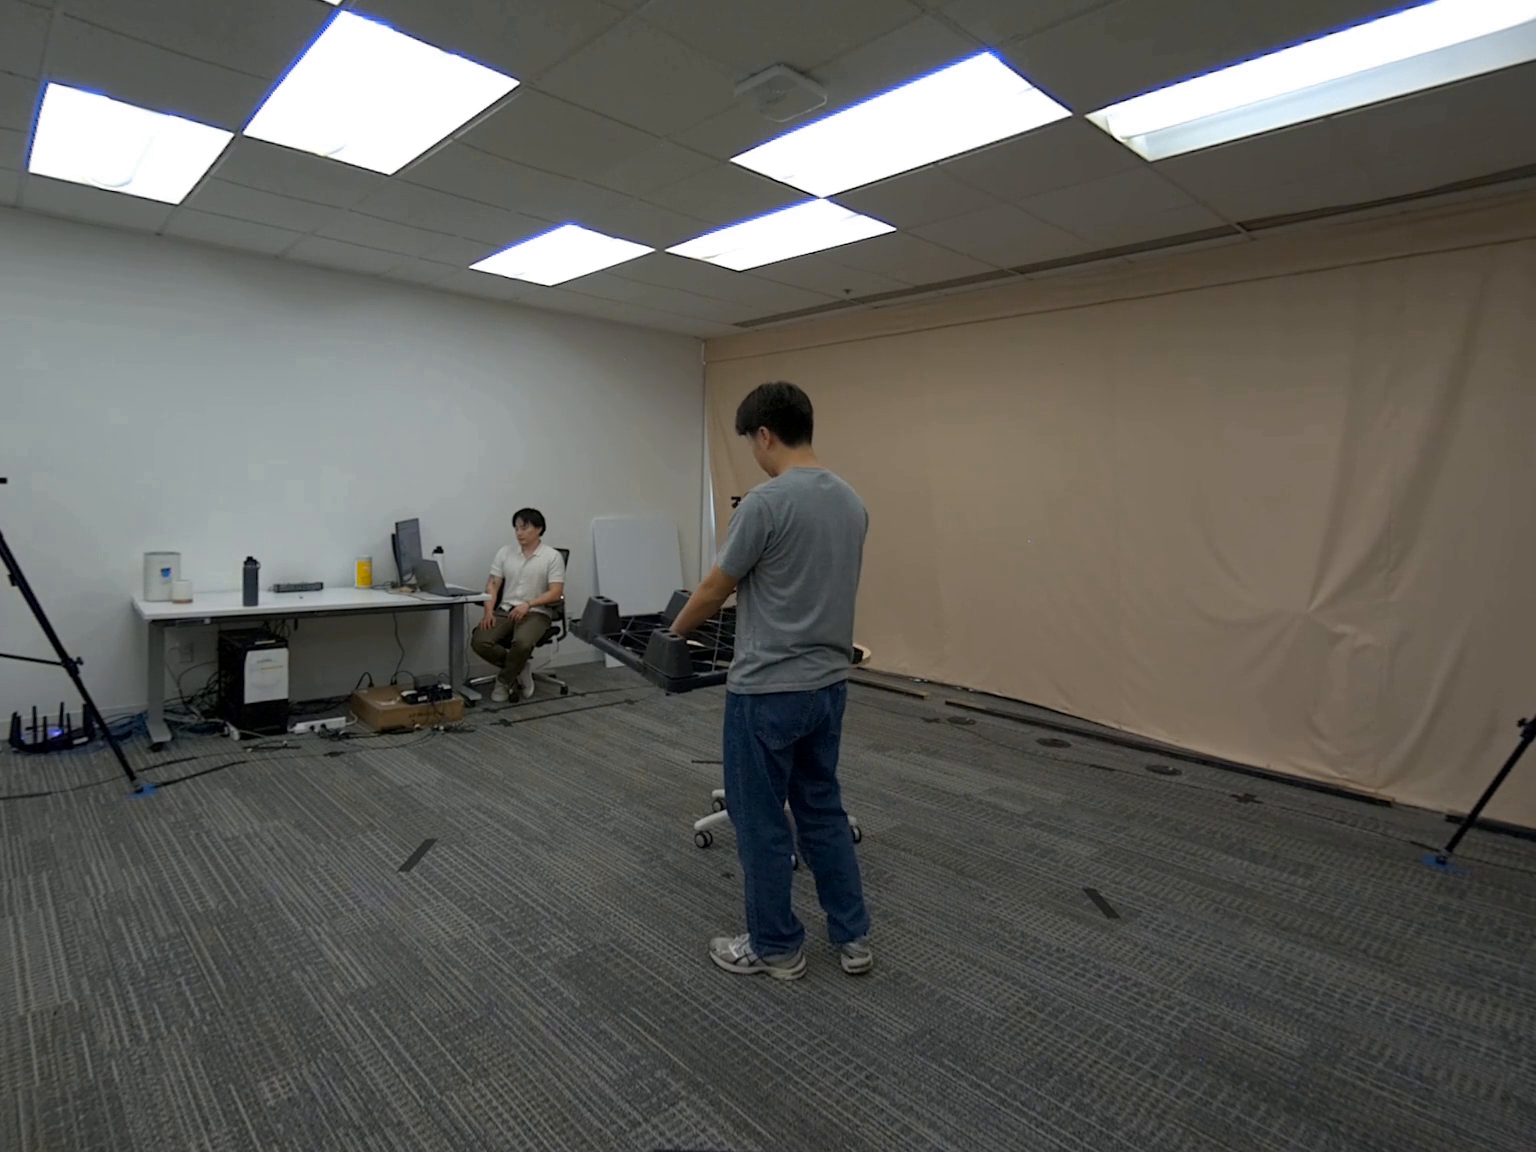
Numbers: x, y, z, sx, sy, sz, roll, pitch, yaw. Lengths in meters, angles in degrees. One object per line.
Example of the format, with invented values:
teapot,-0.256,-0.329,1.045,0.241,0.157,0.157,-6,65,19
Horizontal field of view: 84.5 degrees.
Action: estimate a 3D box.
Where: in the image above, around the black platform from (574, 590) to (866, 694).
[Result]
black platform,-0.162,0.180,2.771,0.787,0.142,0.623,-4,16,-40
